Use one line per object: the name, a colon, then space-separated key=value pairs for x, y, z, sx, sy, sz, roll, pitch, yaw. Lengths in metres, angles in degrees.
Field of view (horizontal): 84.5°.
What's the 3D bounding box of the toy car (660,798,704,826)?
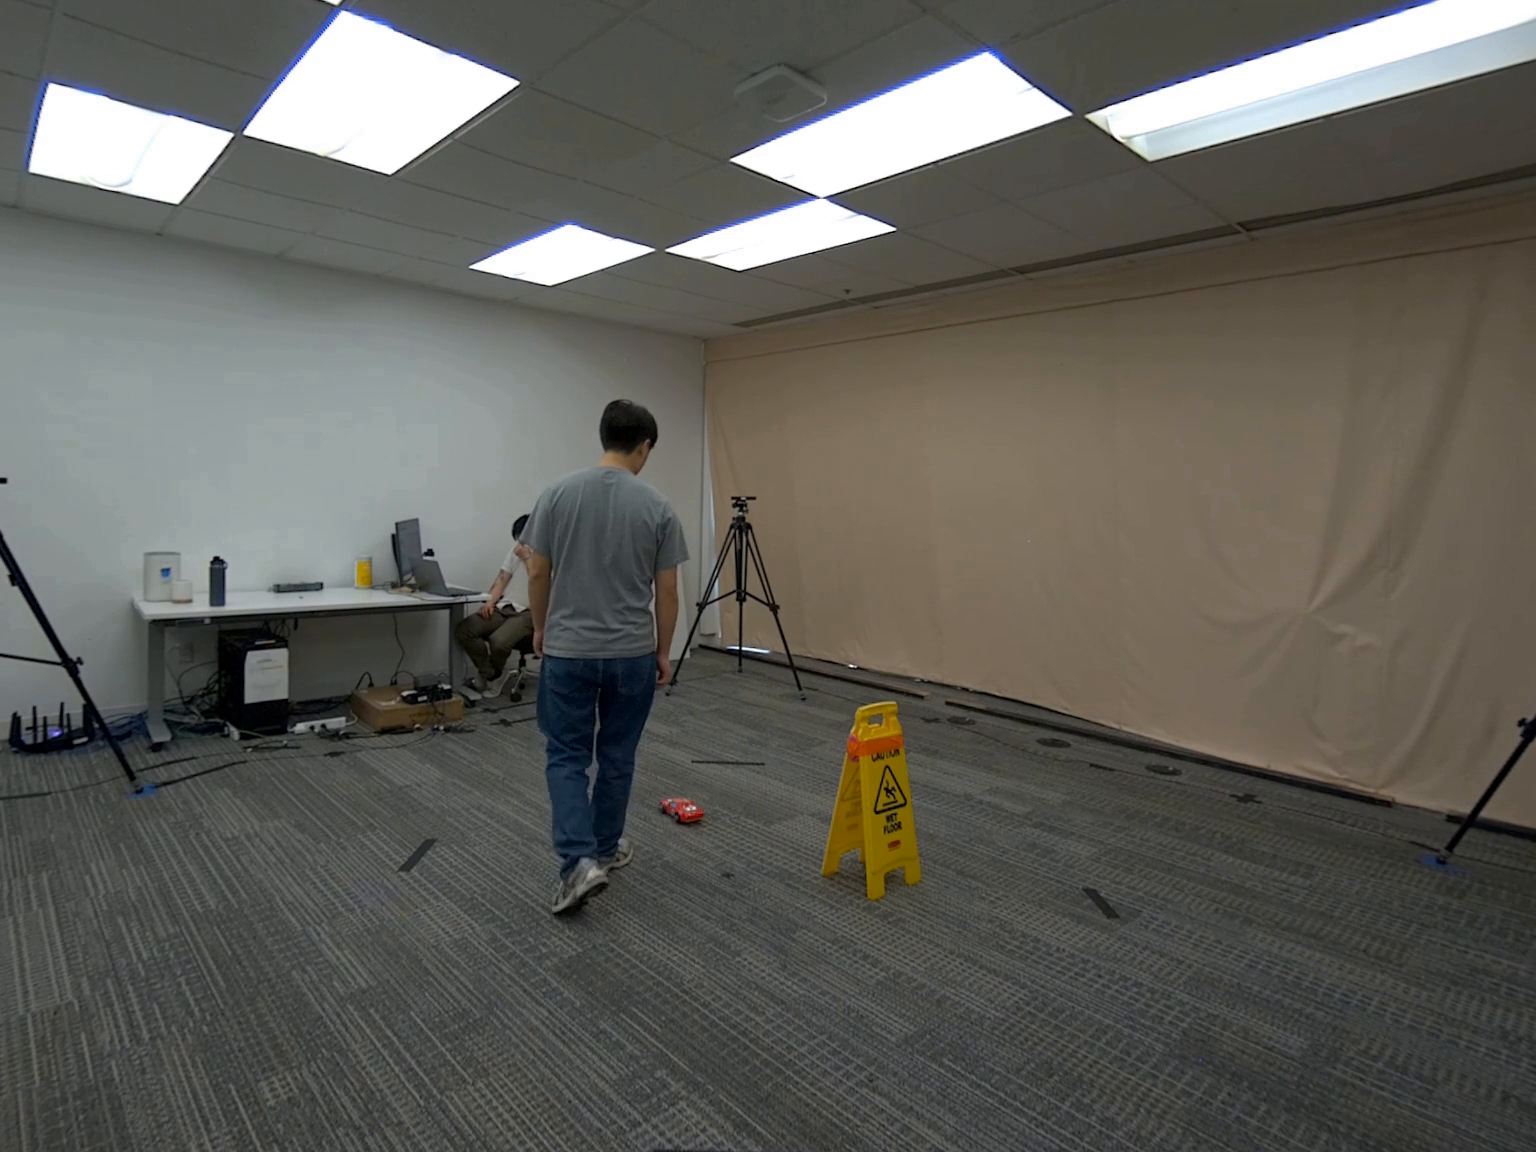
toy car: x=-0.381 y=1.018 z=3.660 sx=0.127 sy=0.083 sz=0.259 roll=0 pitch=-6 yaw=-34
